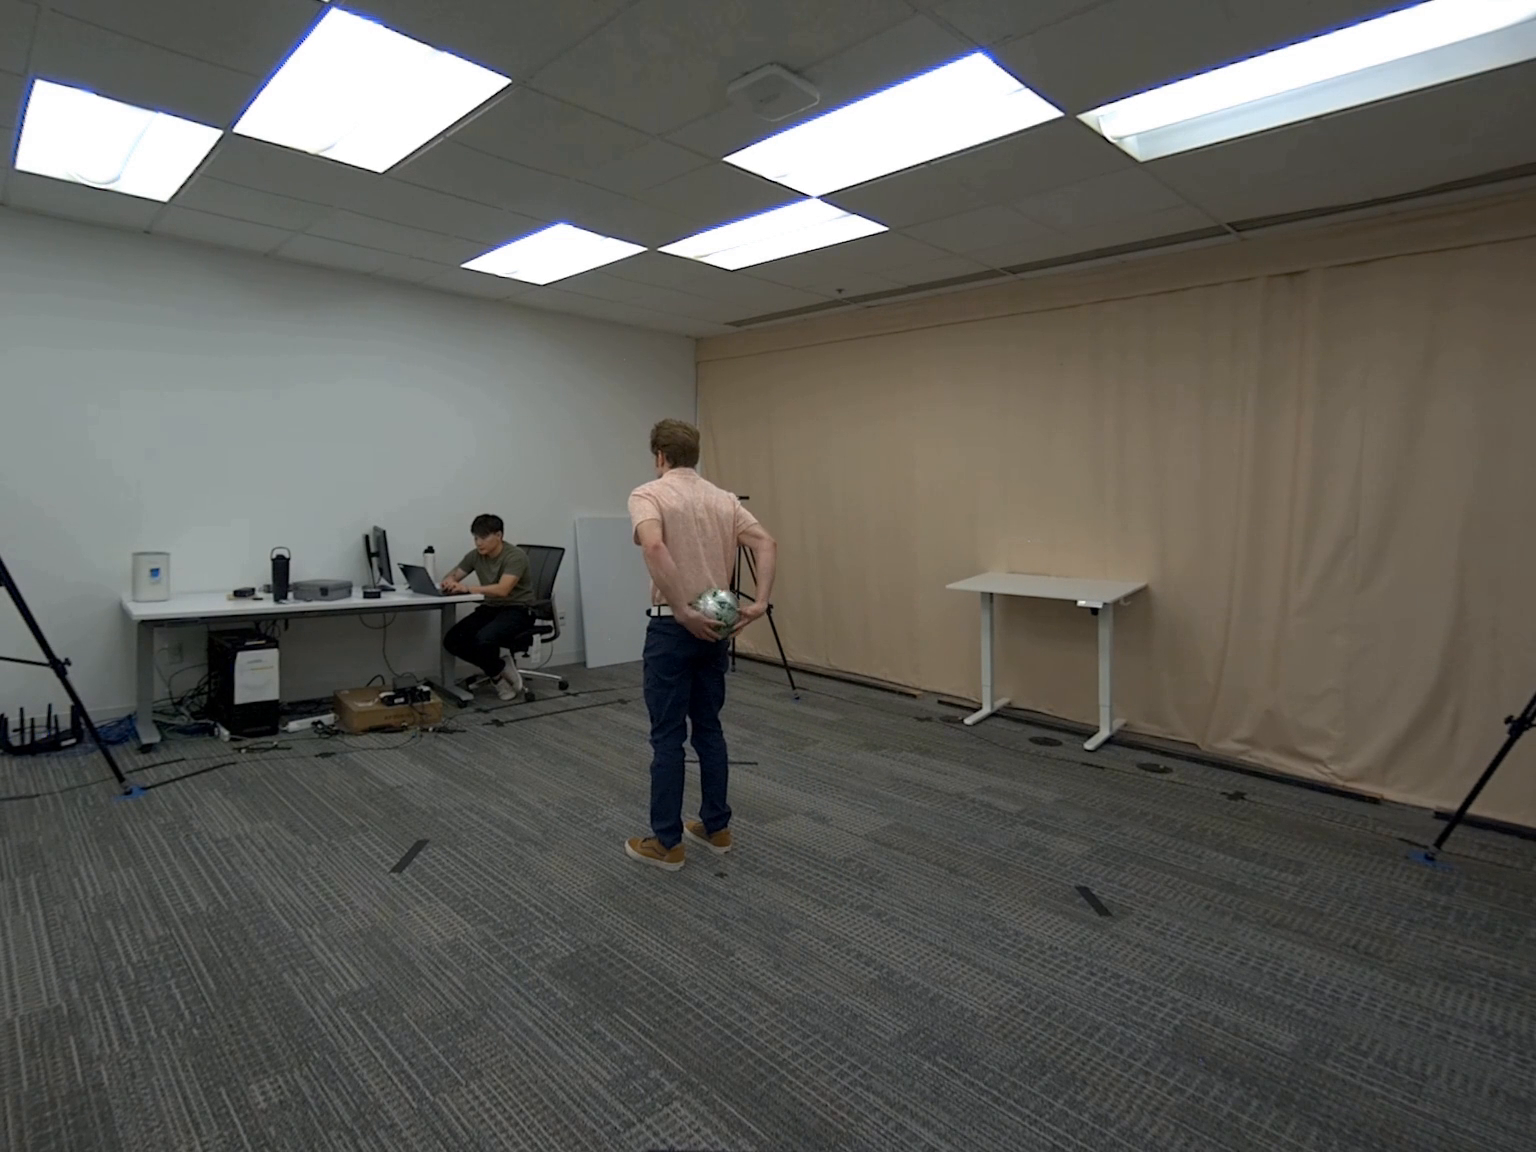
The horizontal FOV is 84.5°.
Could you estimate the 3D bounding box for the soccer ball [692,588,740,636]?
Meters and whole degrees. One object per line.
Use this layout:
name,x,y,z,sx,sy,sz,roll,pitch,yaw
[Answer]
soccer ball,-0.201,0.132,3.070,0.187,0.187,0.188,1,4,-1
